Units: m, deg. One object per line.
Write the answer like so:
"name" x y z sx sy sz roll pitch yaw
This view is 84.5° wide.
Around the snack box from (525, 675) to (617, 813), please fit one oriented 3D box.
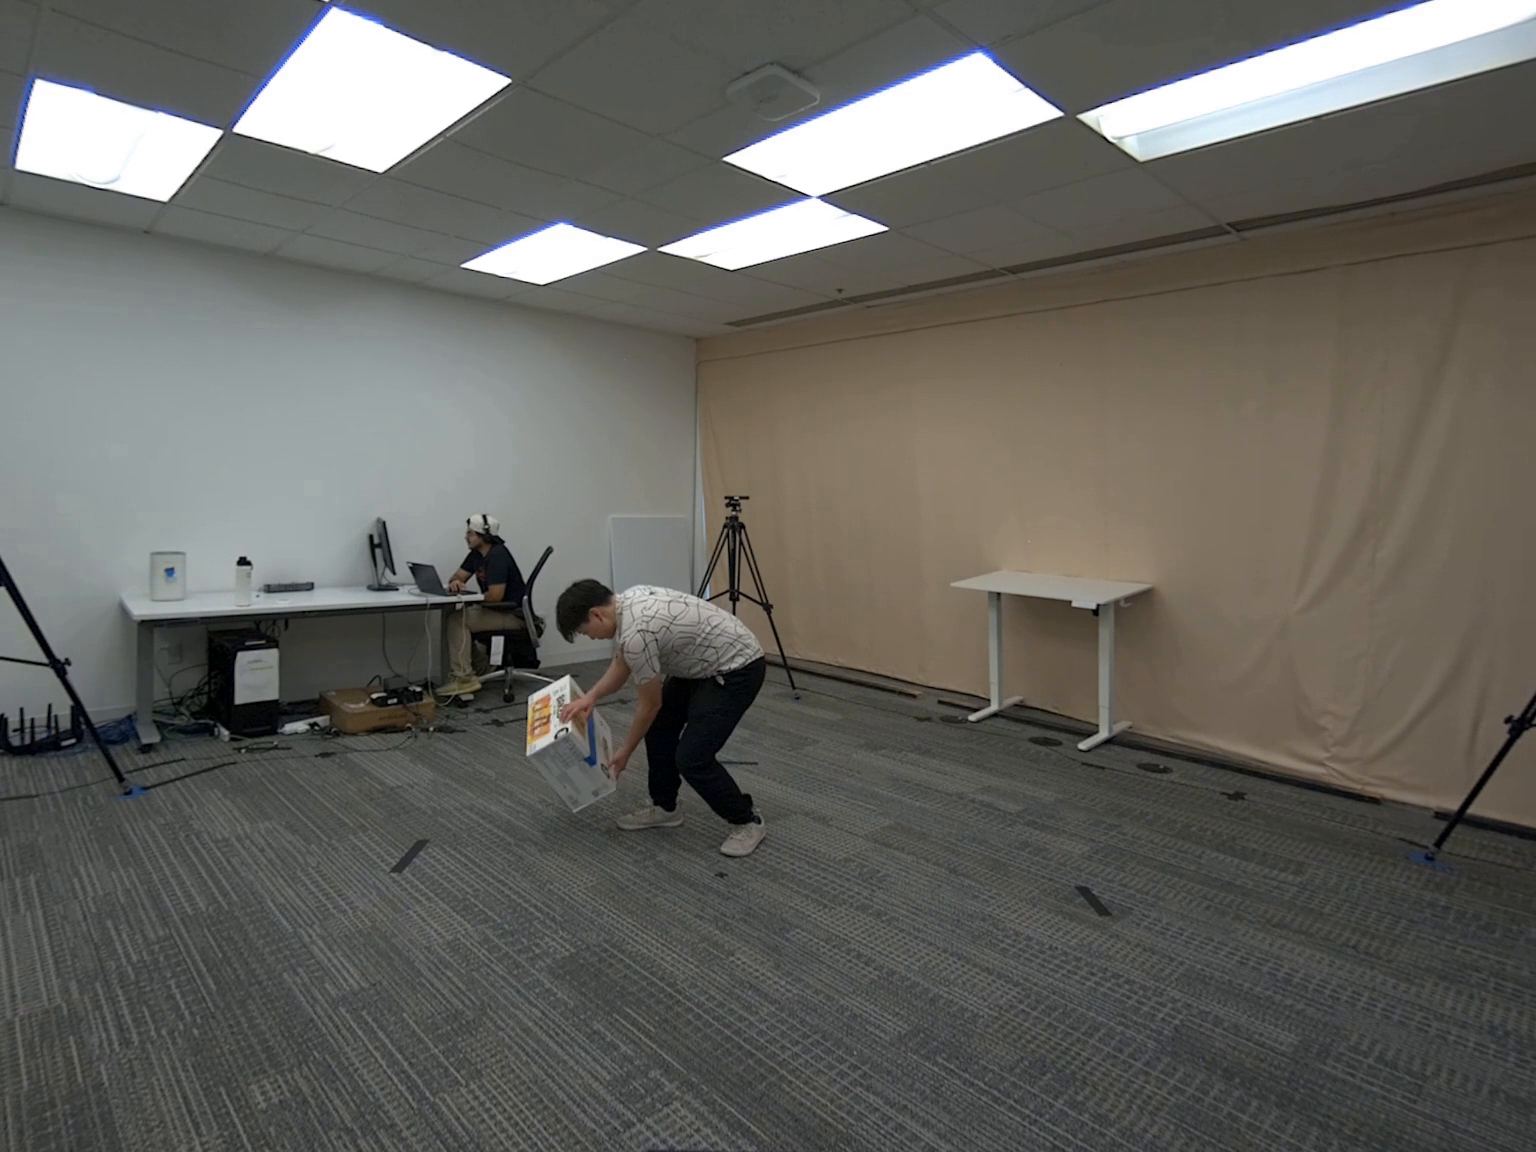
"snack box" -0.811 0.678 3.457 0.206 0.332 0.415 -29 28 1
